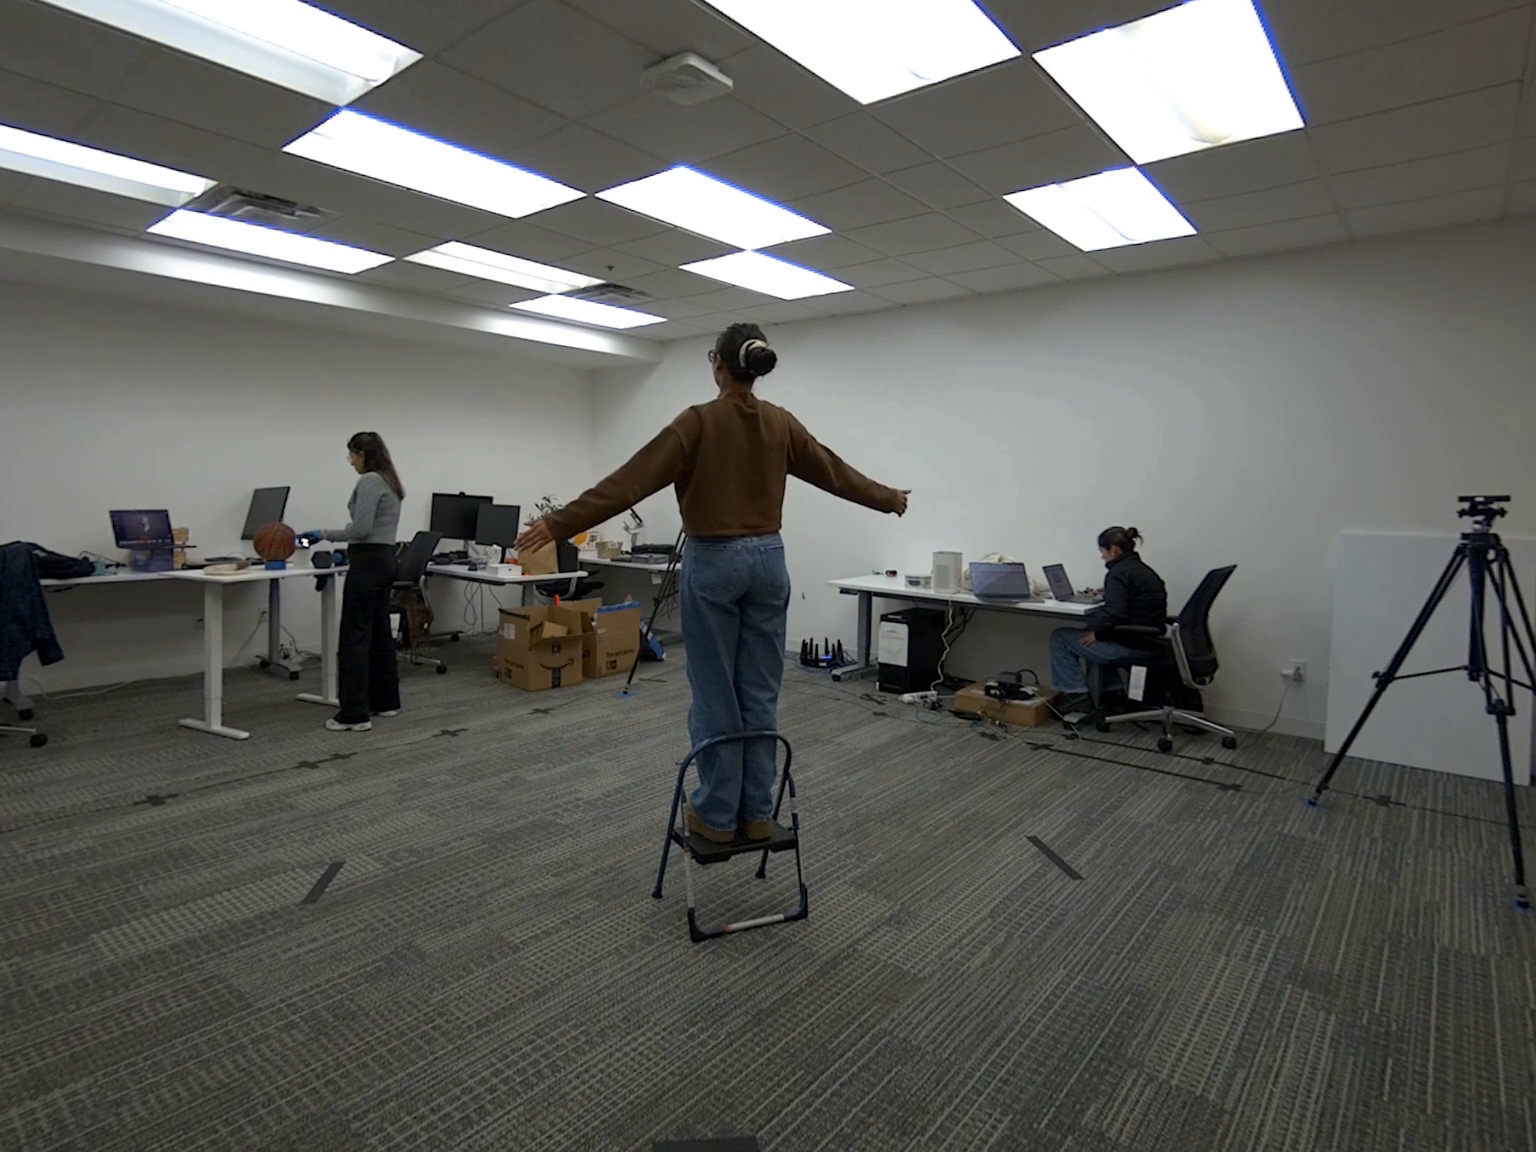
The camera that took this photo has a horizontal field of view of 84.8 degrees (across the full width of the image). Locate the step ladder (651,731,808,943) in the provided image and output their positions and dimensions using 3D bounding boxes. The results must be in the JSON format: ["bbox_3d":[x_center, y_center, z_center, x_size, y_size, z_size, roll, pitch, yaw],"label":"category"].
[{"bbox_3d":[-0.130,0.797,2.812,0.420,0.604,0.359,-1,4,-27],"label":"step ladder"}]
